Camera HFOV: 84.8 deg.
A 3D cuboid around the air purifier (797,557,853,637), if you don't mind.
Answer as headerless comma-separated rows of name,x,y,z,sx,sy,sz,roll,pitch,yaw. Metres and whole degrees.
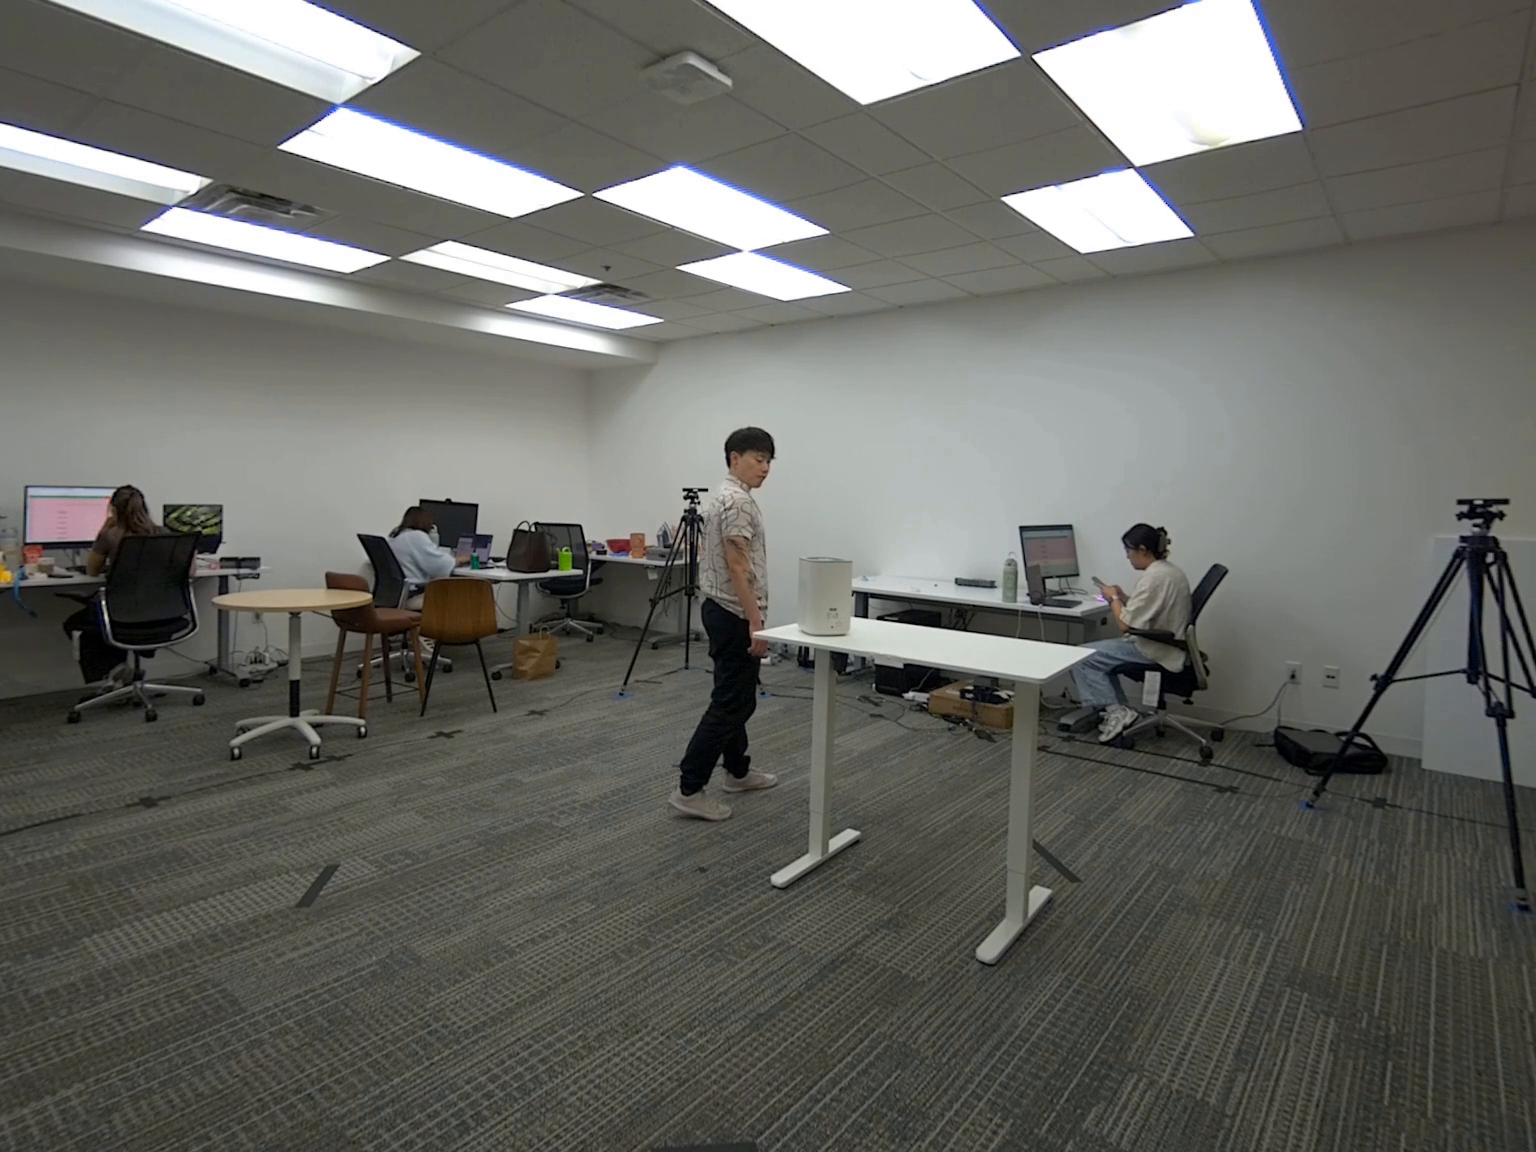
air purifier,0.197,0.068,3.042,0.169,0.264,0.174,0,4,-10
